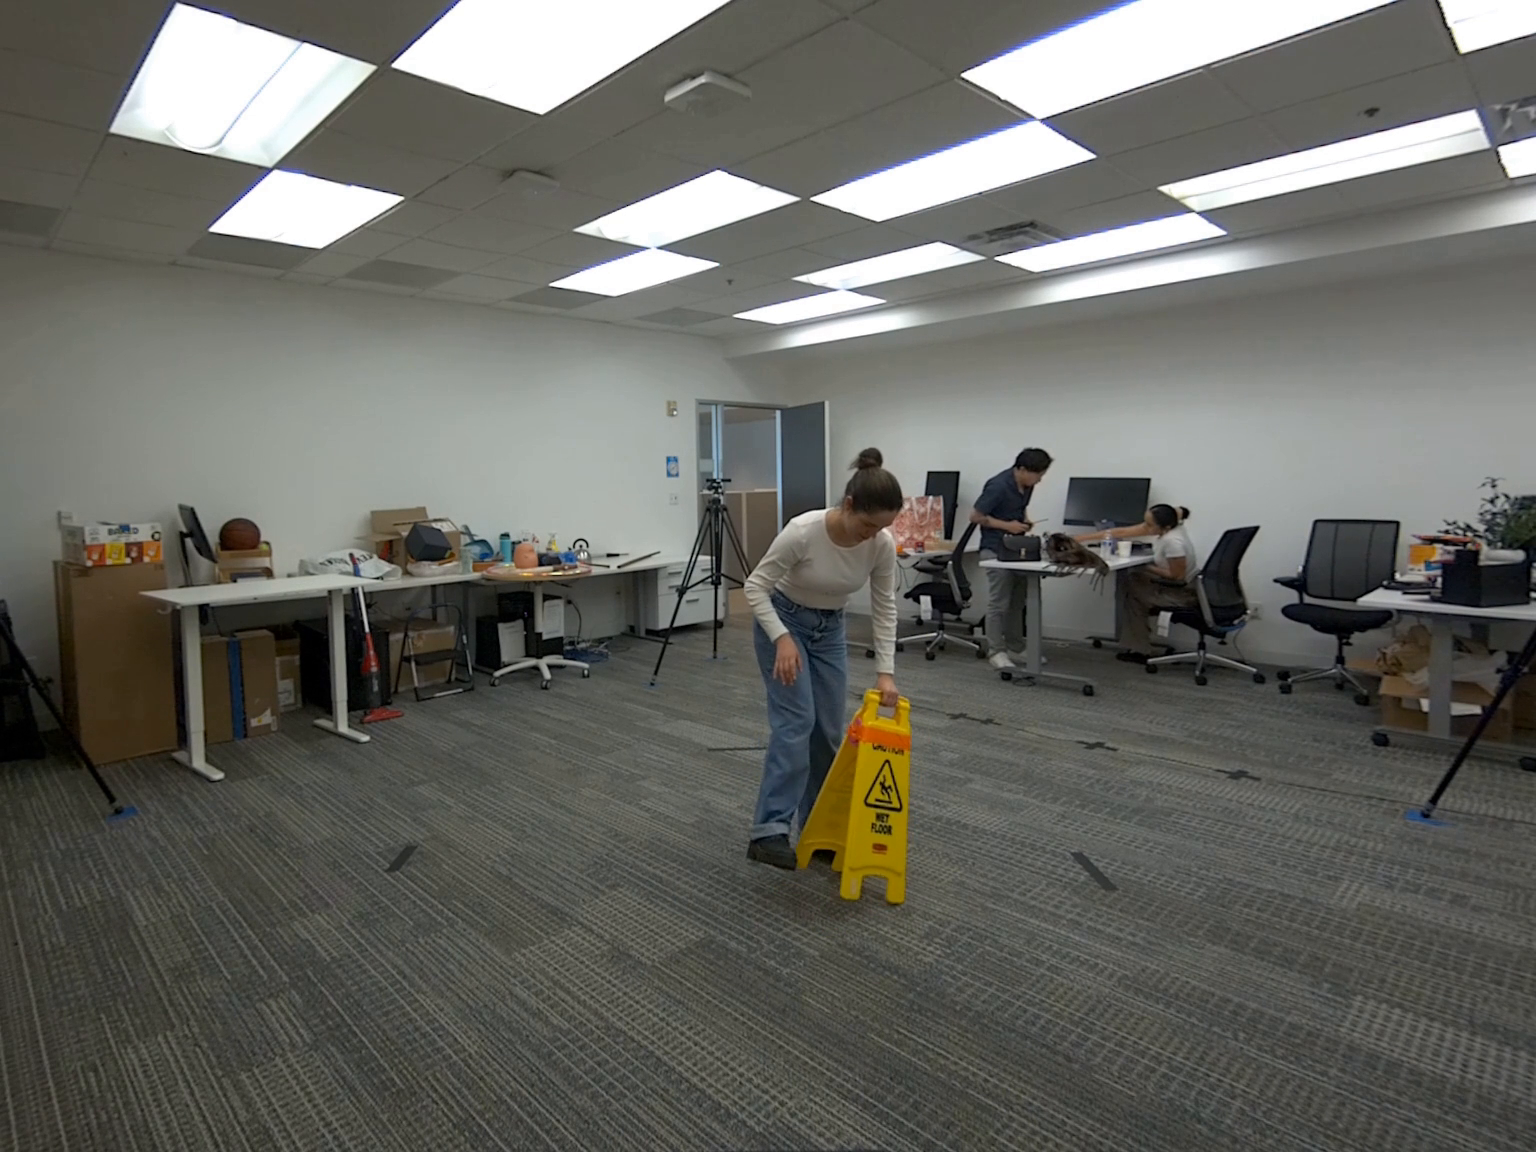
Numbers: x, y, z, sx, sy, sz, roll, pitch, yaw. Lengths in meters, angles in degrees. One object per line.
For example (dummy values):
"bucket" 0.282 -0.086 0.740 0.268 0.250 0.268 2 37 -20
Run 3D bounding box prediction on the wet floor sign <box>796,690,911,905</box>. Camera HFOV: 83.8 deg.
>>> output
"wet floor sign" 0.330 0.709 2.889 0.273 0.649 0.298 19 -9 -33
